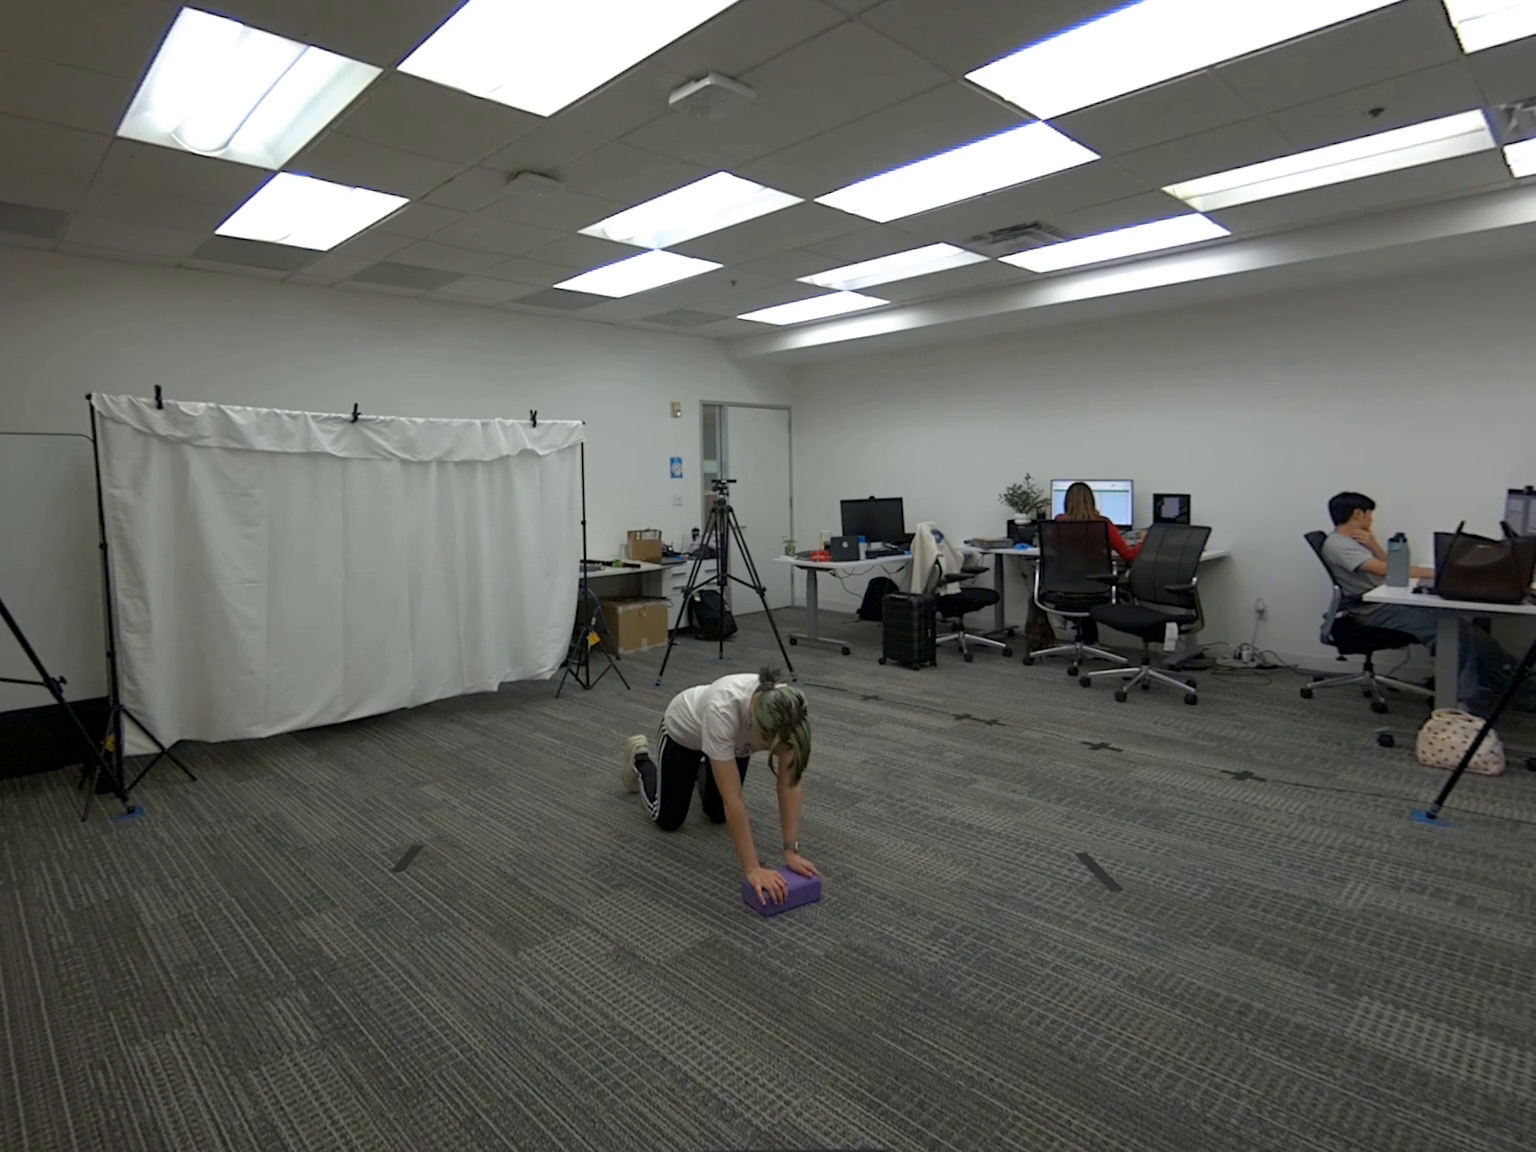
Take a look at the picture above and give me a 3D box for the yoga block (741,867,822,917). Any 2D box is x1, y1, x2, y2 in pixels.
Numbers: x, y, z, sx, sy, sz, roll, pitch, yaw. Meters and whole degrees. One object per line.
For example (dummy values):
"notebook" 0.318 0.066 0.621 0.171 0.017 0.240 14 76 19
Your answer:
"yoga block" 0.048 1.041 2.839 0.224 0.076 0.153 -5 10 -32
